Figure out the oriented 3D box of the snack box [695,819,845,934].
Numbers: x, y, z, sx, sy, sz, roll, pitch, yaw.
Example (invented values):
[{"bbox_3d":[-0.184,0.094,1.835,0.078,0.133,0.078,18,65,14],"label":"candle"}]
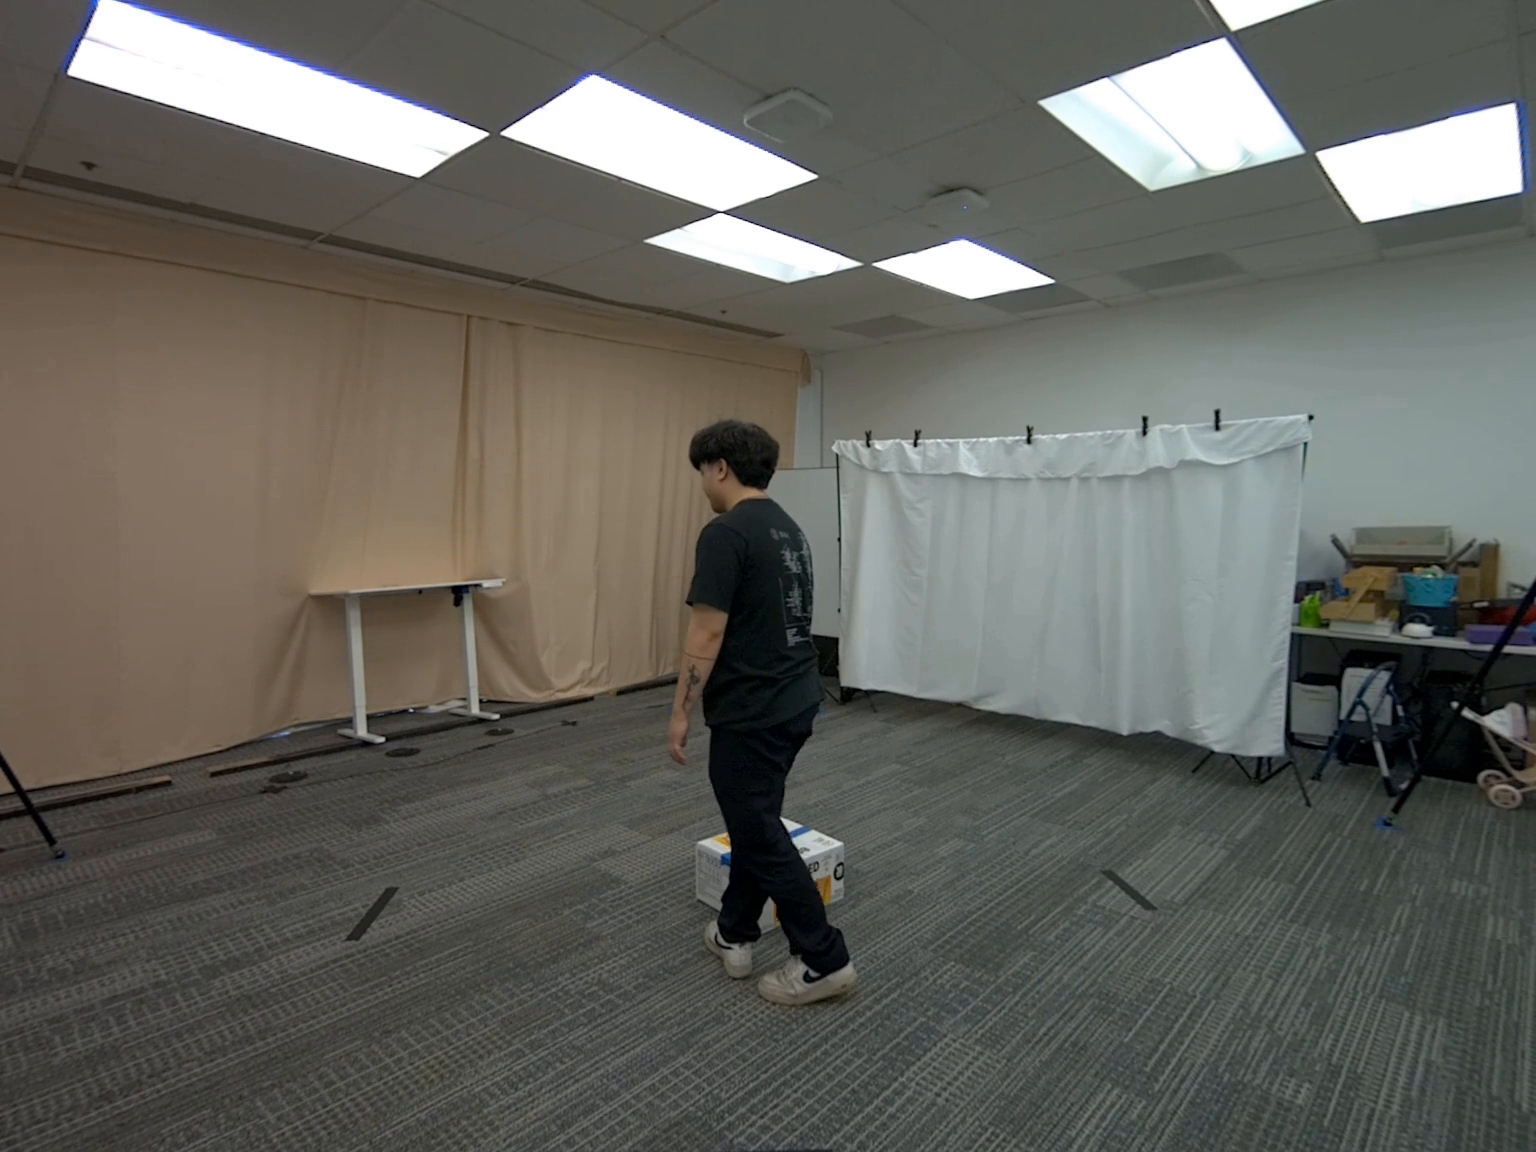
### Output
[{"bbox_3d":[0.010,1.044,2.972,0.393,0.205,0.352,-4,6,-42],"label":"snack box"}]
